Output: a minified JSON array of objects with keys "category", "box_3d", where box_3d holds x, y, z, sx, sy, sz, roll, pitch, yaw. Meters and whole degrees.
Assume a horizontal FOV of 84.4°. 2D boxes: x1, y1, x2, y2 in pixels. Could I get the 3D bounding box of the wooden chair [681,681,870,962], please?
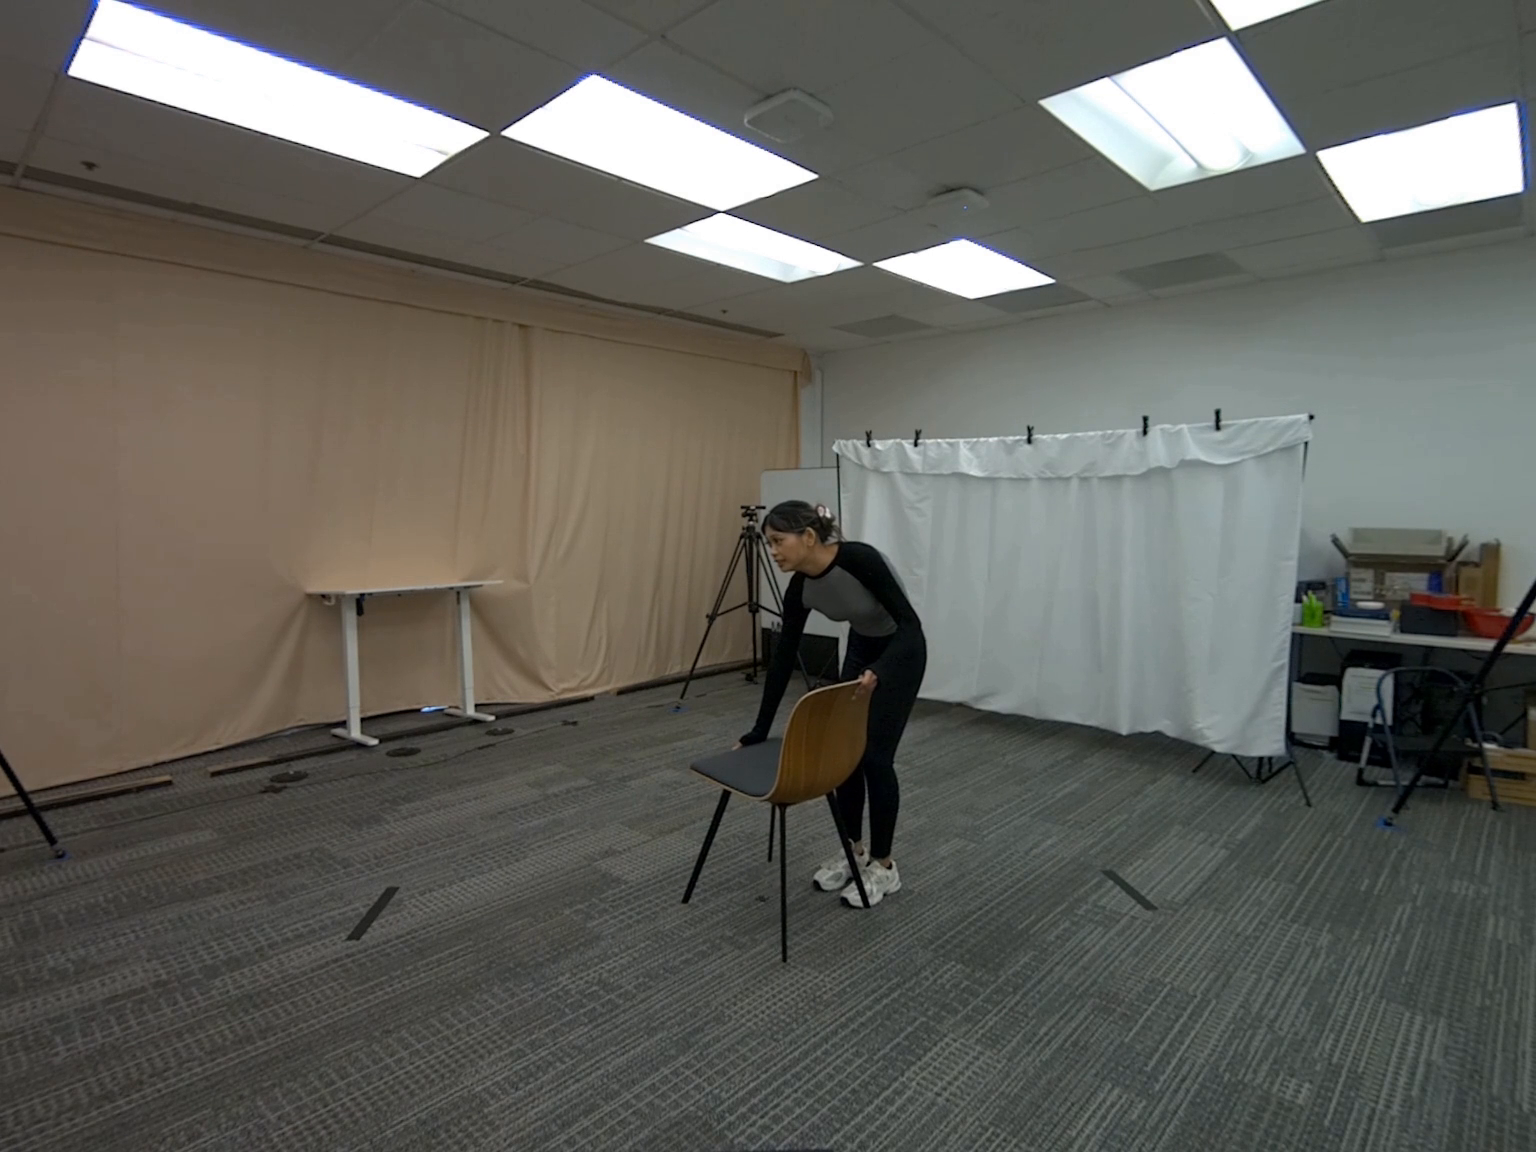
[{"category":"wooden chair","box_3d":[0.037,0.690,2.787,0.542,0.872,0.464,15,14,42]}]
